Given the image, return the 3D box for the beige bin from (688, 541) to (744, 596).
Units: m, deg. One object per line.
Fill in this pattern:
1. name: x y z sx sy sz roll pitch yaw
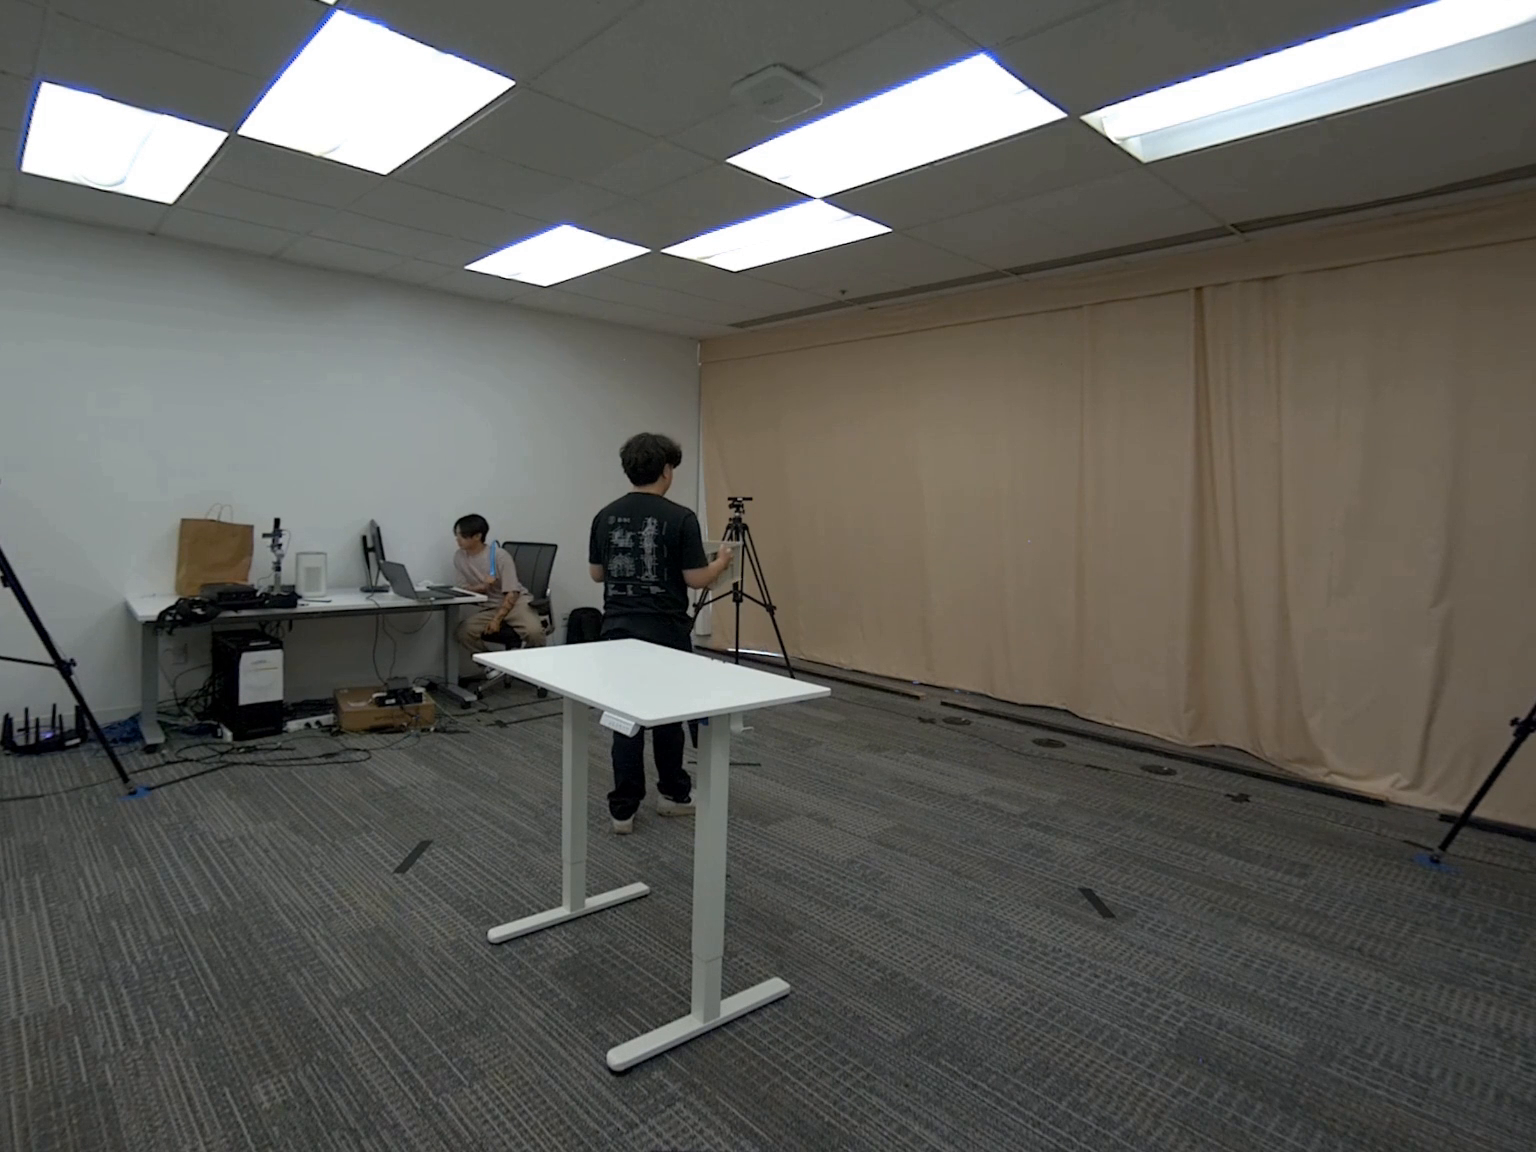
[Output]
1. beige bin: -0.385 -0.048 3.915 0.430 0.188 0.372 3 8 24
